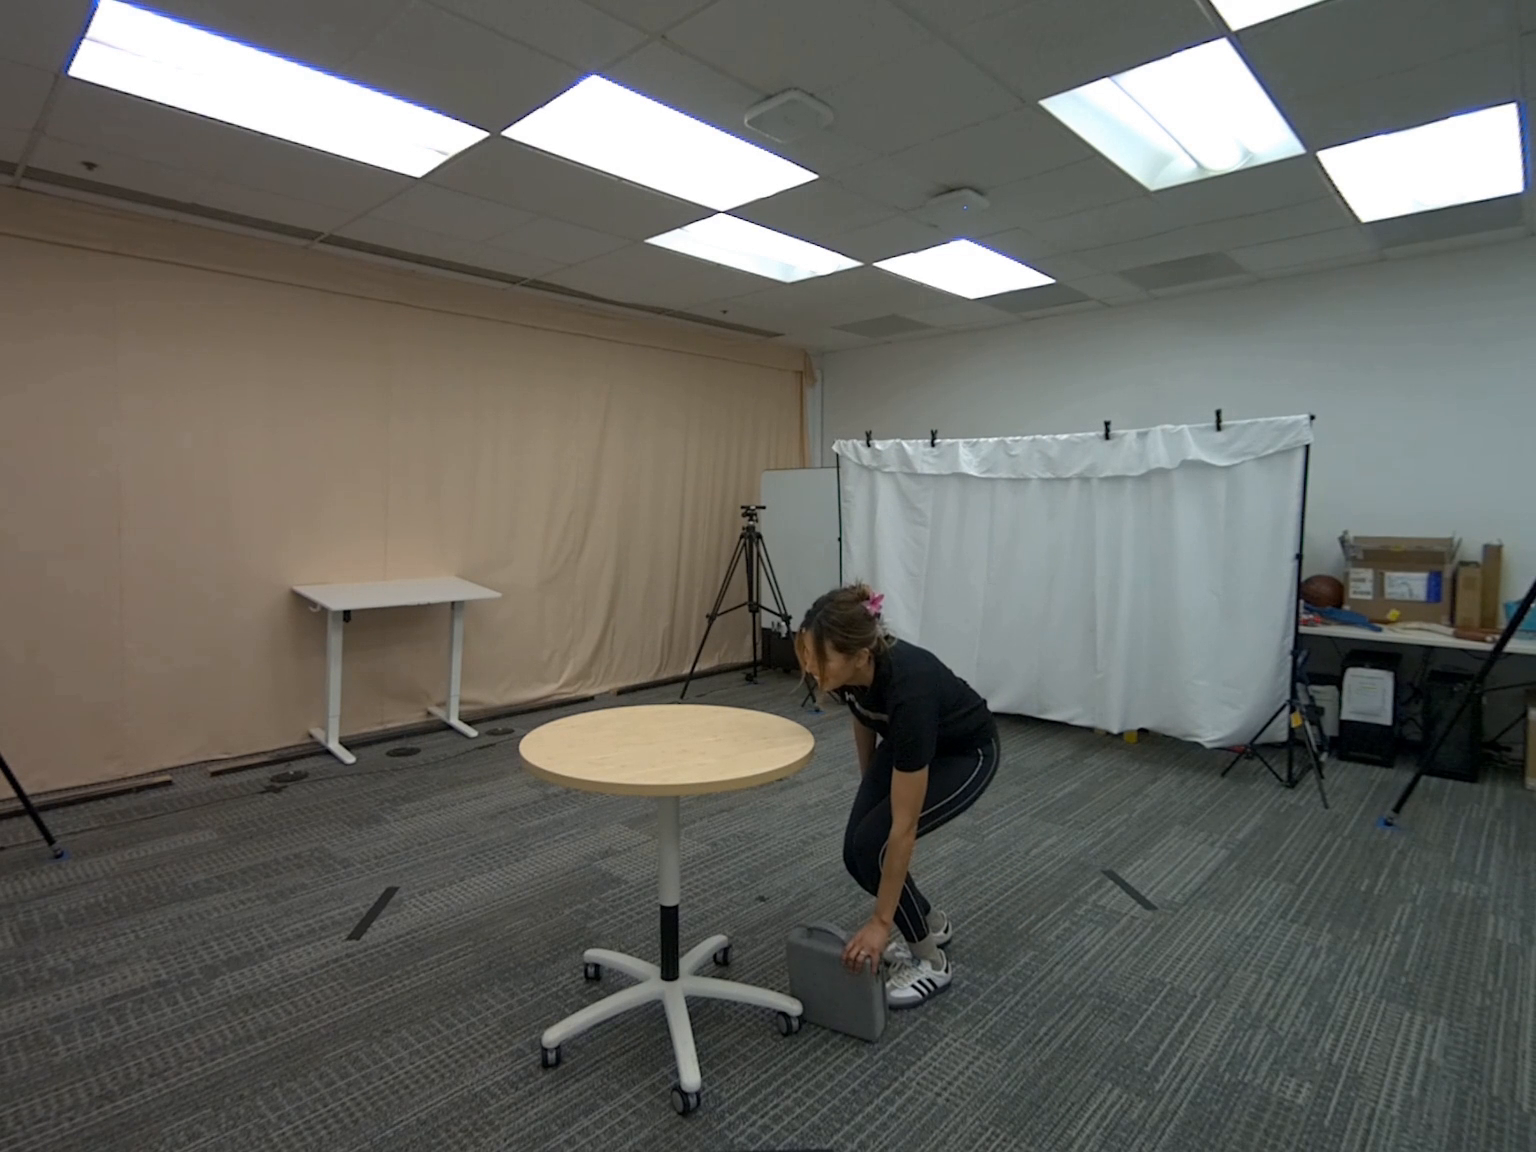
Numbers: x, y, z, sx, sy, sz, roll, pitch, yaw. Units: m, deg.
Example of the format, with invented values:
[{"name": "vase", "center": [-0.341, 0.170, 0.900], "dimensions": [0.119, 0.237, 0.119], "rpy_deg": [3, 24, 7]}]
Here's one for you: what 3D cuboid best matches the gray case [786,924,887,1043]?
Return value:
[{"name": "gray case", "center": [0.194, 1.073, 2.242], "dimensions": [0.264, 0.258, 0.102], "rpy_deg": [0, 12, 32]}]
